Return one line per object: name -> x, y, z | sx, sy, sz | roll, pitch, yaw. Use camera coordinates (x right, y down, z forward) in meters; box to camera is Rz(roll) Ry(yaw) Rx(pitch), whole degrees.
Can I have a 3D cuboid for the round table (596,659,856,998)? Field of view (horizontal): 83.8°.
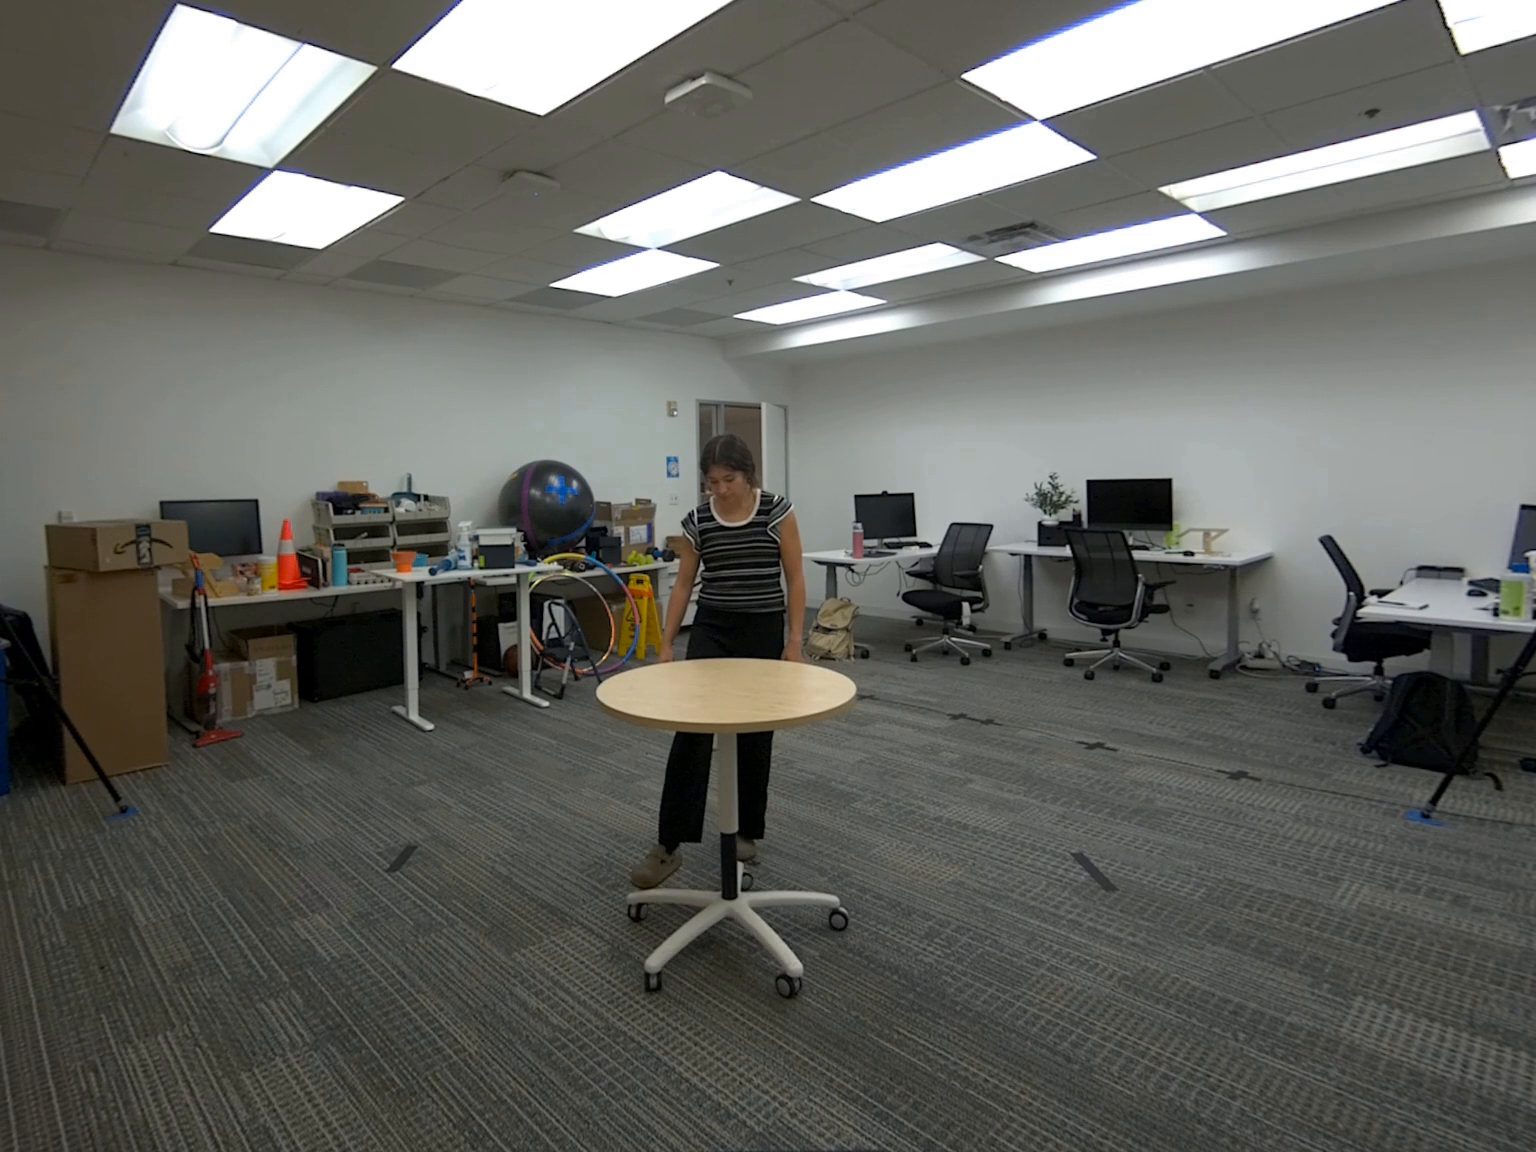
round table -> -0.127, 0.720, 2.553 | 0.784, 0.783, 0.789 | -1, 5, -2
